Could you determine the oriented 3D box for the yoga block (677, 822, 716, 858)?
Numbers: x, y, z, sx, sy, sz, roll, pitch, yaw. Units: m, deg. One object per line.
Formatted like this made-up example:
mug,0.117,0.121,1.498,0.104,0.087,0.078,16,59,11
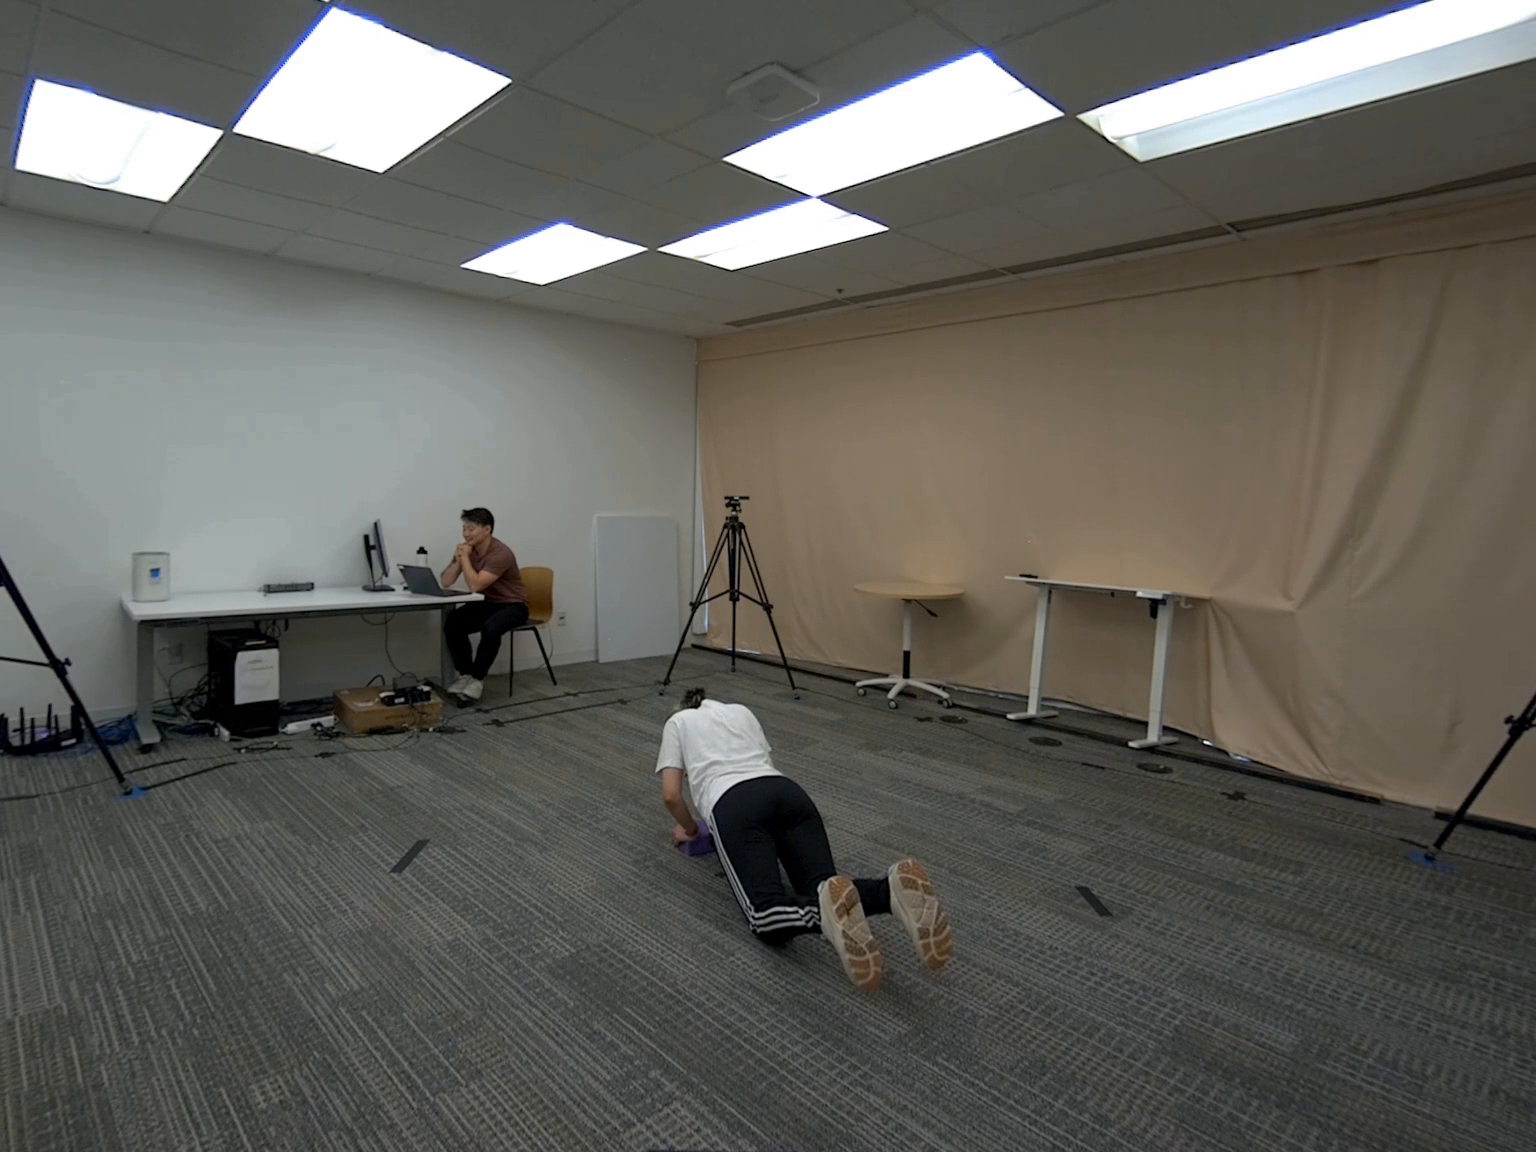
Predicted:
yoga block,-0.250,1.042,3.367,0.225,0.076,0.152,-2,5,-31
